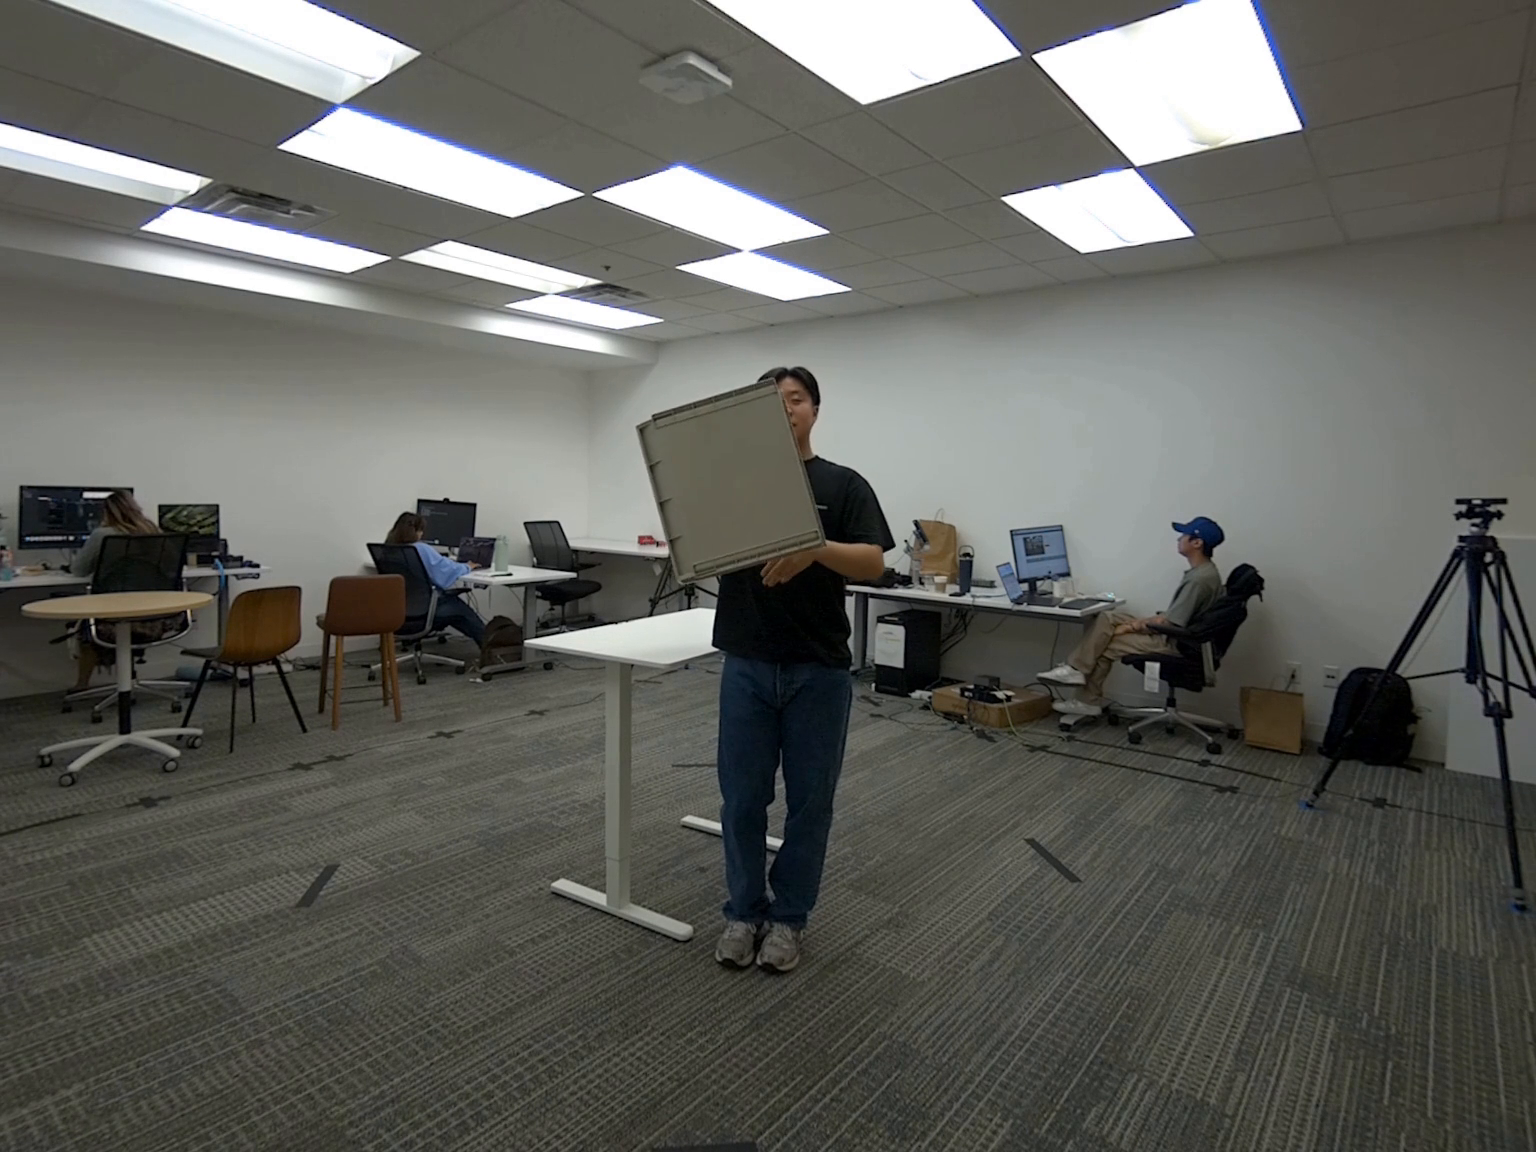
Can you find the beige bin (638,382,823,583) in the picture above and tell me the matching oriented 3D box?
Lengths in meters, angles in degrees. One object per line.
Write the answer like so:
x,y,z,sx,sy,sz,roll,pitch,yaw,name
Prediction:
-0.101,-0.233,2.141,0.379,0.425,0.187,-16,-5,7,beige bin
